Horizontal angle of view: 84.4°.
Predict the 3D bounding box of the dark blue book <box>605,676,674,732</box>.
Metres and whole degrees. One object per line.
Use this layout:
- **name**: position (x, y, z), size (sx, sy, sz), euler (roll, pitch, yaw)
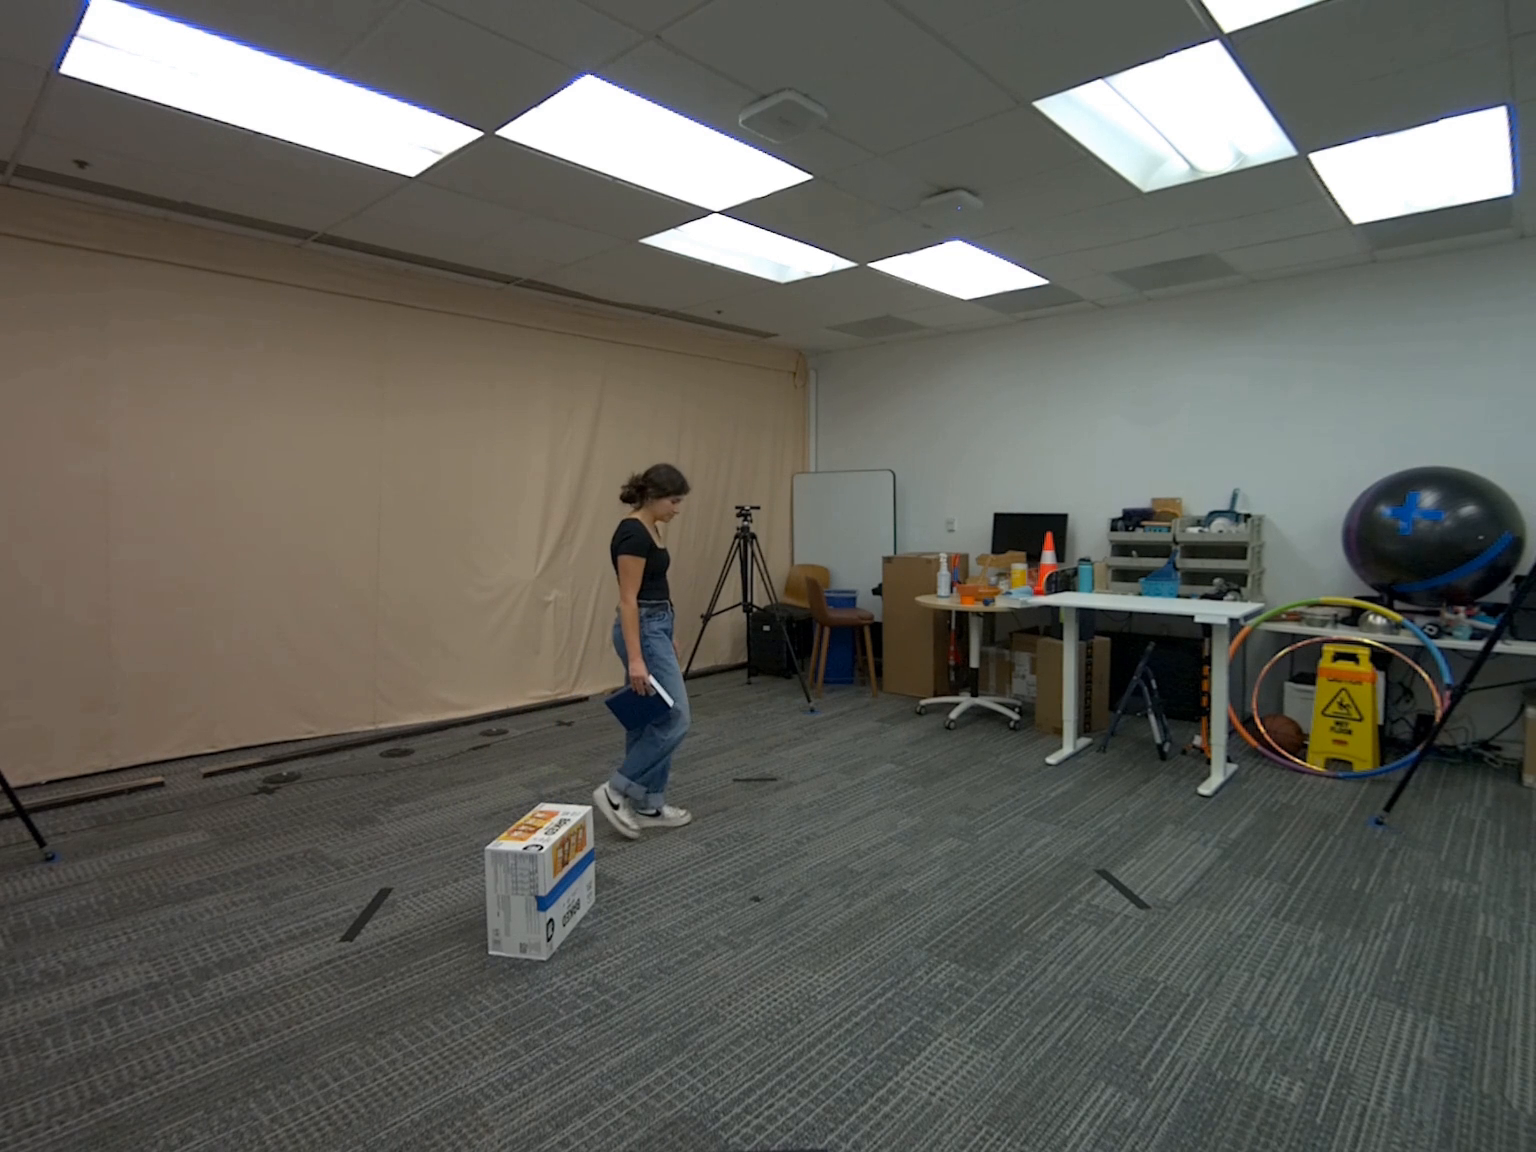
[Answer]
- **dark blue book**: position (-0.525, 0.512, 3.414), size (0.248, 0.161, 0.045), euler (-30, 16, 22)
